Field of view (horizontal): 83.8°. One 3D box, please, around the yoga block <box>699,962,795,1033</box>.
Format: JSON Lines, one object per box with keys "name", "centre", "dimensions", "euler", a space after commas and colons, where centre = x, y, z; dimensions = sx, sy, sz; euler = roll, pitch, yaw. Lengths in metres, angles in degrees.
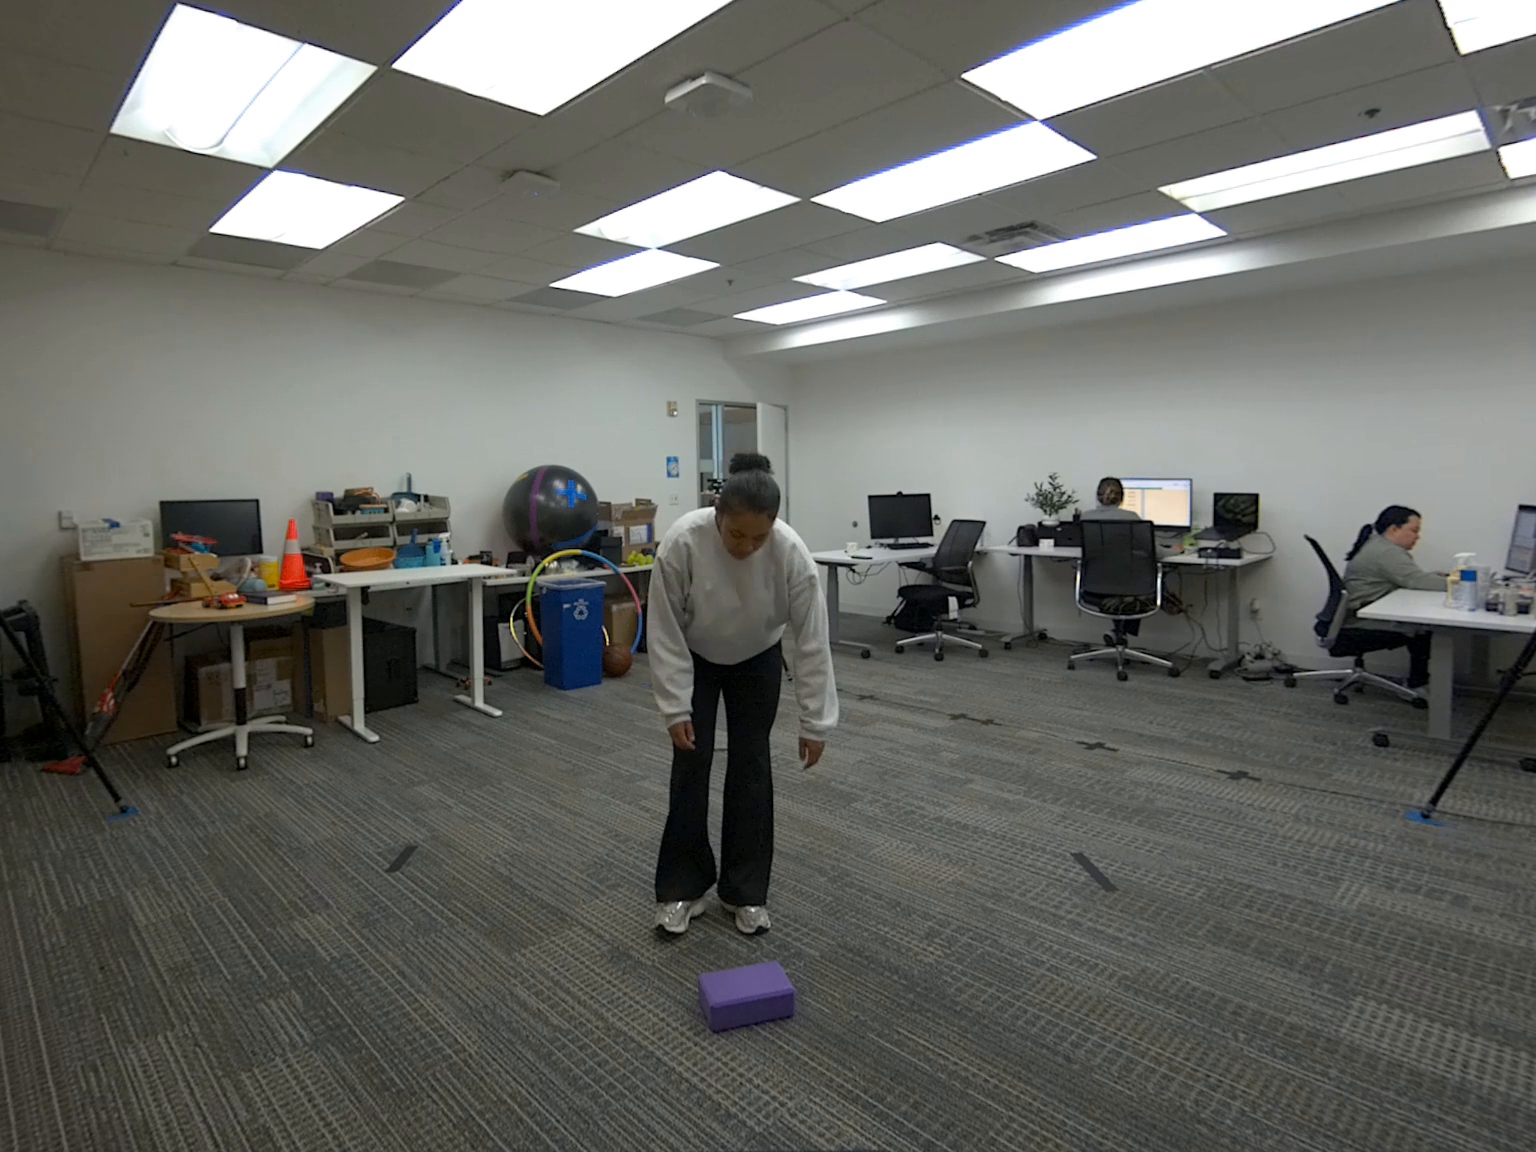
{"name": "yoga block", "centre": [-0.057, 1.111, 2.255], "dimensions": [0.226, 0.076, 0.152], "euler": [-2, 6, -15]}
